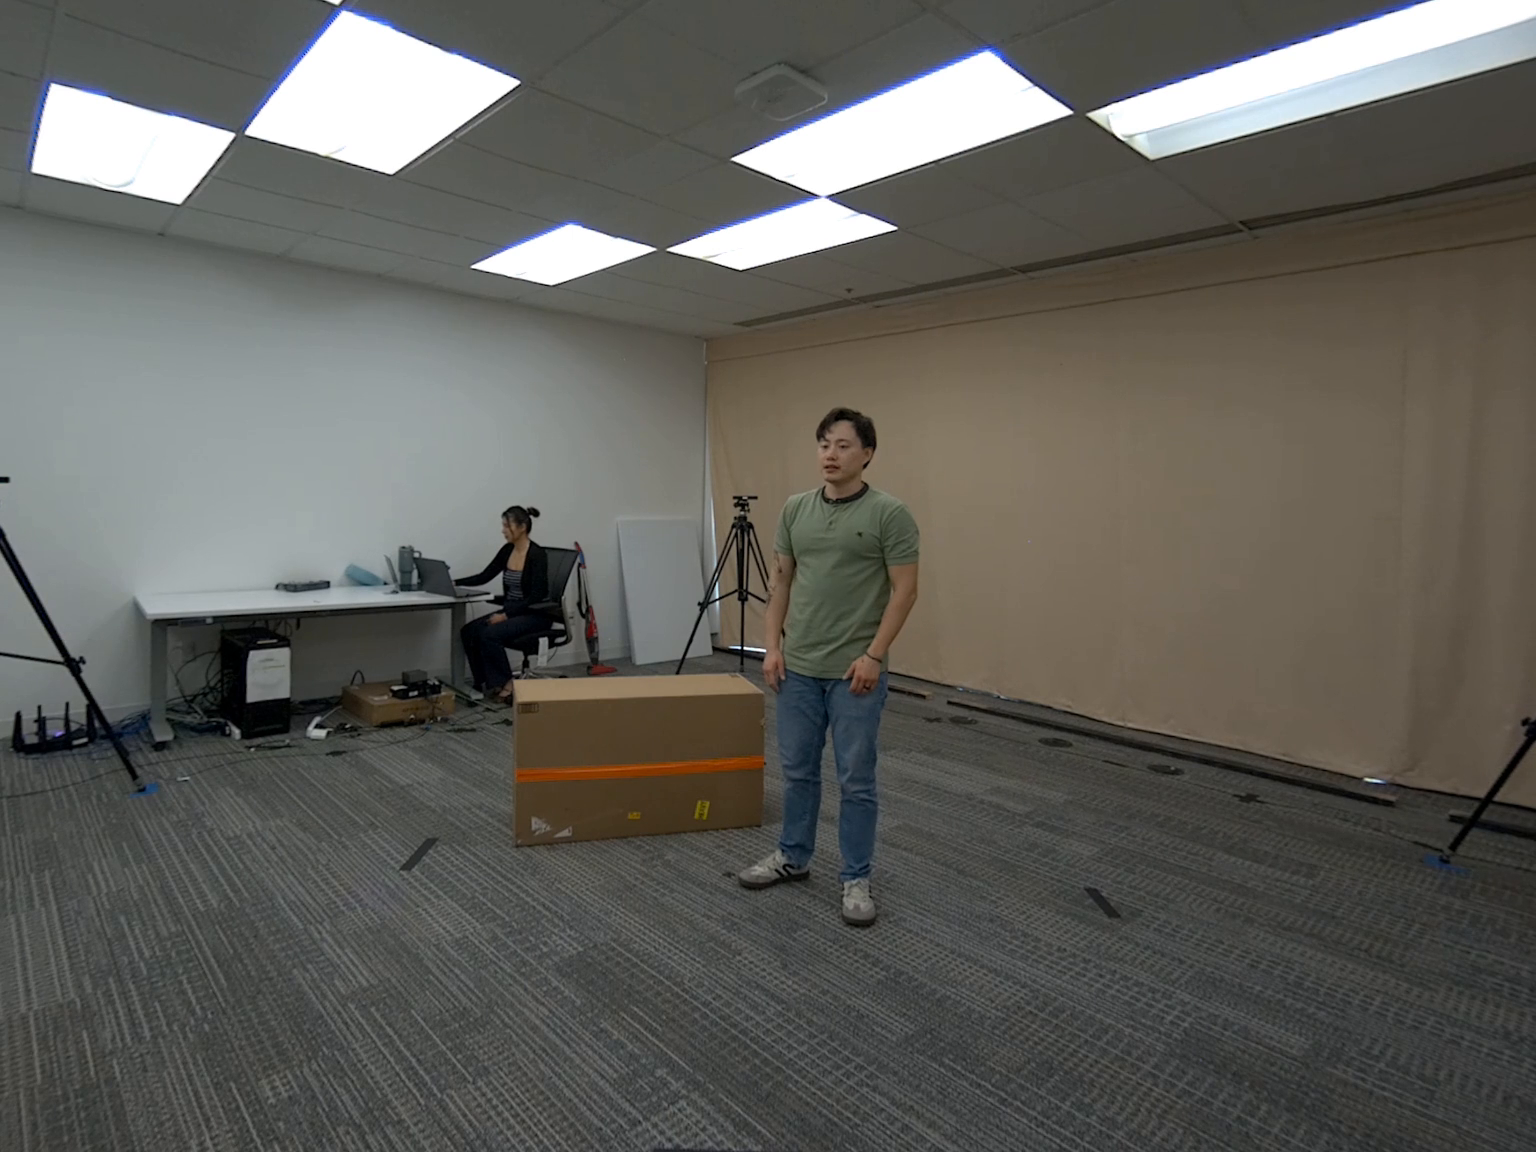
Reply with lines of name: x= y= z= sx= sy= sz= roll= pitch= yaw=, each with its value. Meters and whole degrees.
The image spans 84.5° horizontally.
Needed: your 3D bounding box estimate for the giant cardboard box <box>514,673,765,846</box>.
giant cardboard box: x=-0.571 y=0.755 z=3.623 sx=1.013 sy=0.576 sz=0.433 roll=0 pitch=4 yaw=-16
